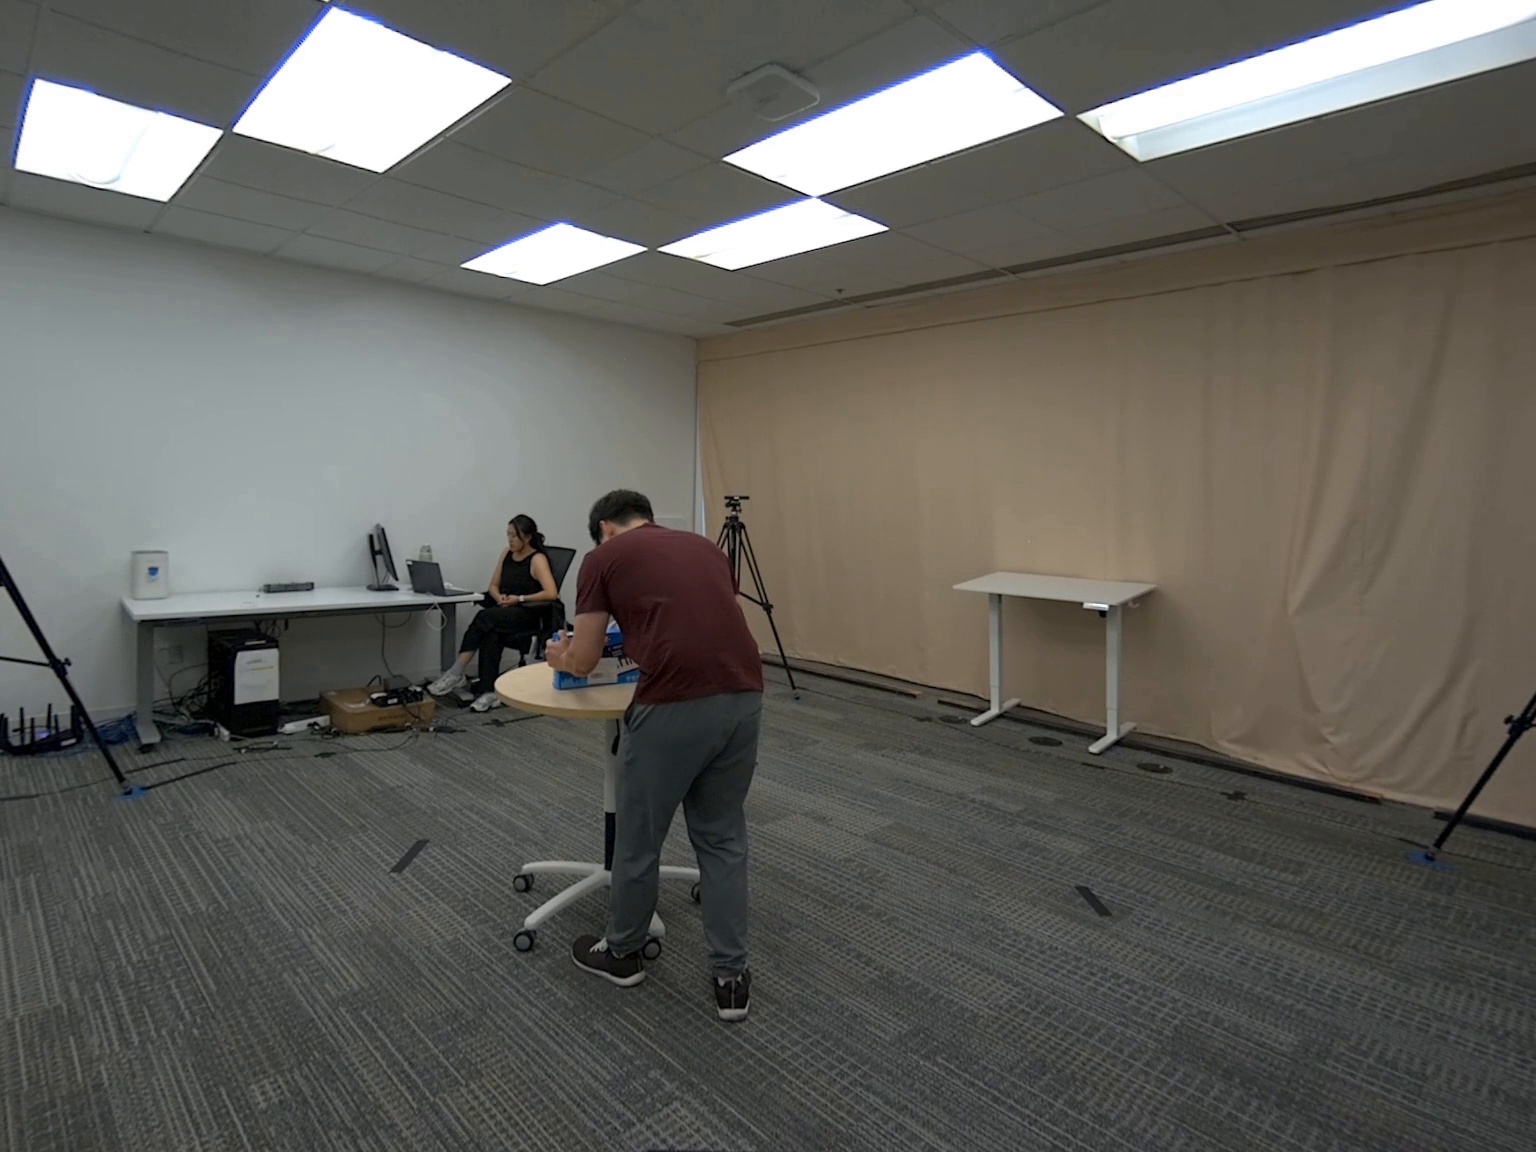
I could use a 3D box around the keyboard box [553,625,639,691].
[{"bbox_3d":[-0.488,0.270,2.749,0.428,0.175,0.060,-3,4,-32],"label":"keyboard box"}]
